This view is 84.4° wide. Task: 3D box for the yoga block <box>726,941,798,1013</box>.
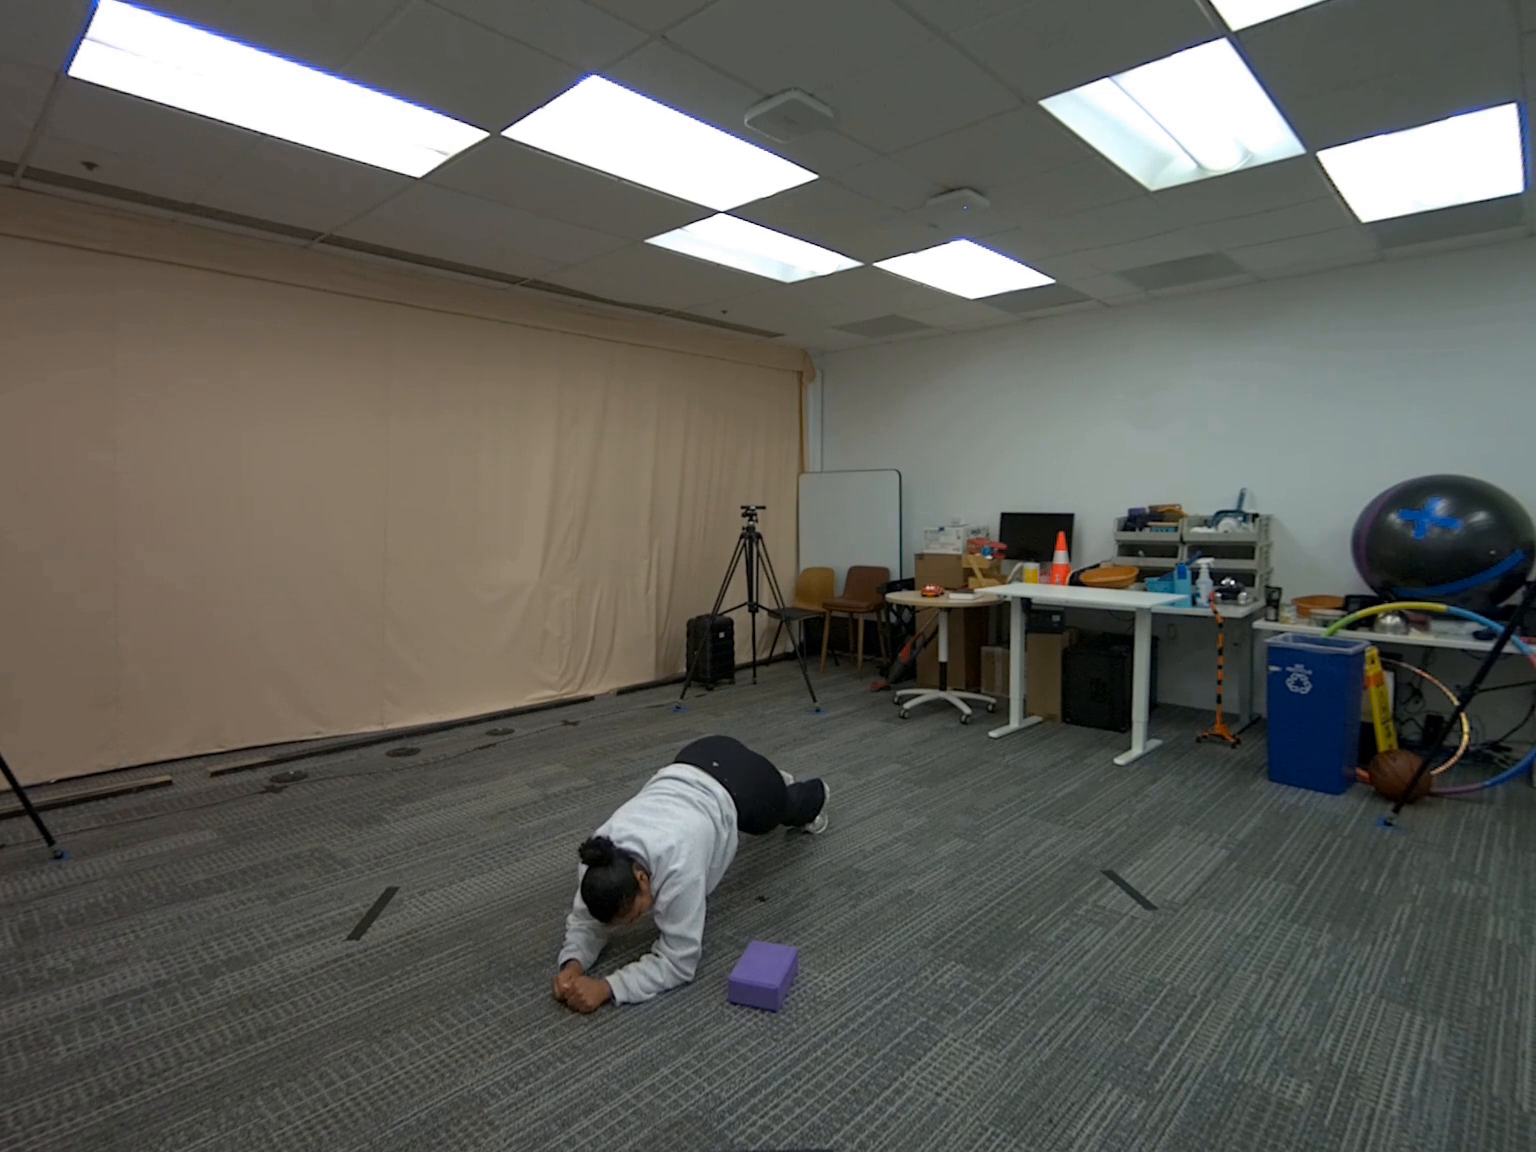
[{"bbox_3d":[-0.014,1.147,2.430,0.152,0.076,0.225,1,5,18],"label":"yoga block"}]
